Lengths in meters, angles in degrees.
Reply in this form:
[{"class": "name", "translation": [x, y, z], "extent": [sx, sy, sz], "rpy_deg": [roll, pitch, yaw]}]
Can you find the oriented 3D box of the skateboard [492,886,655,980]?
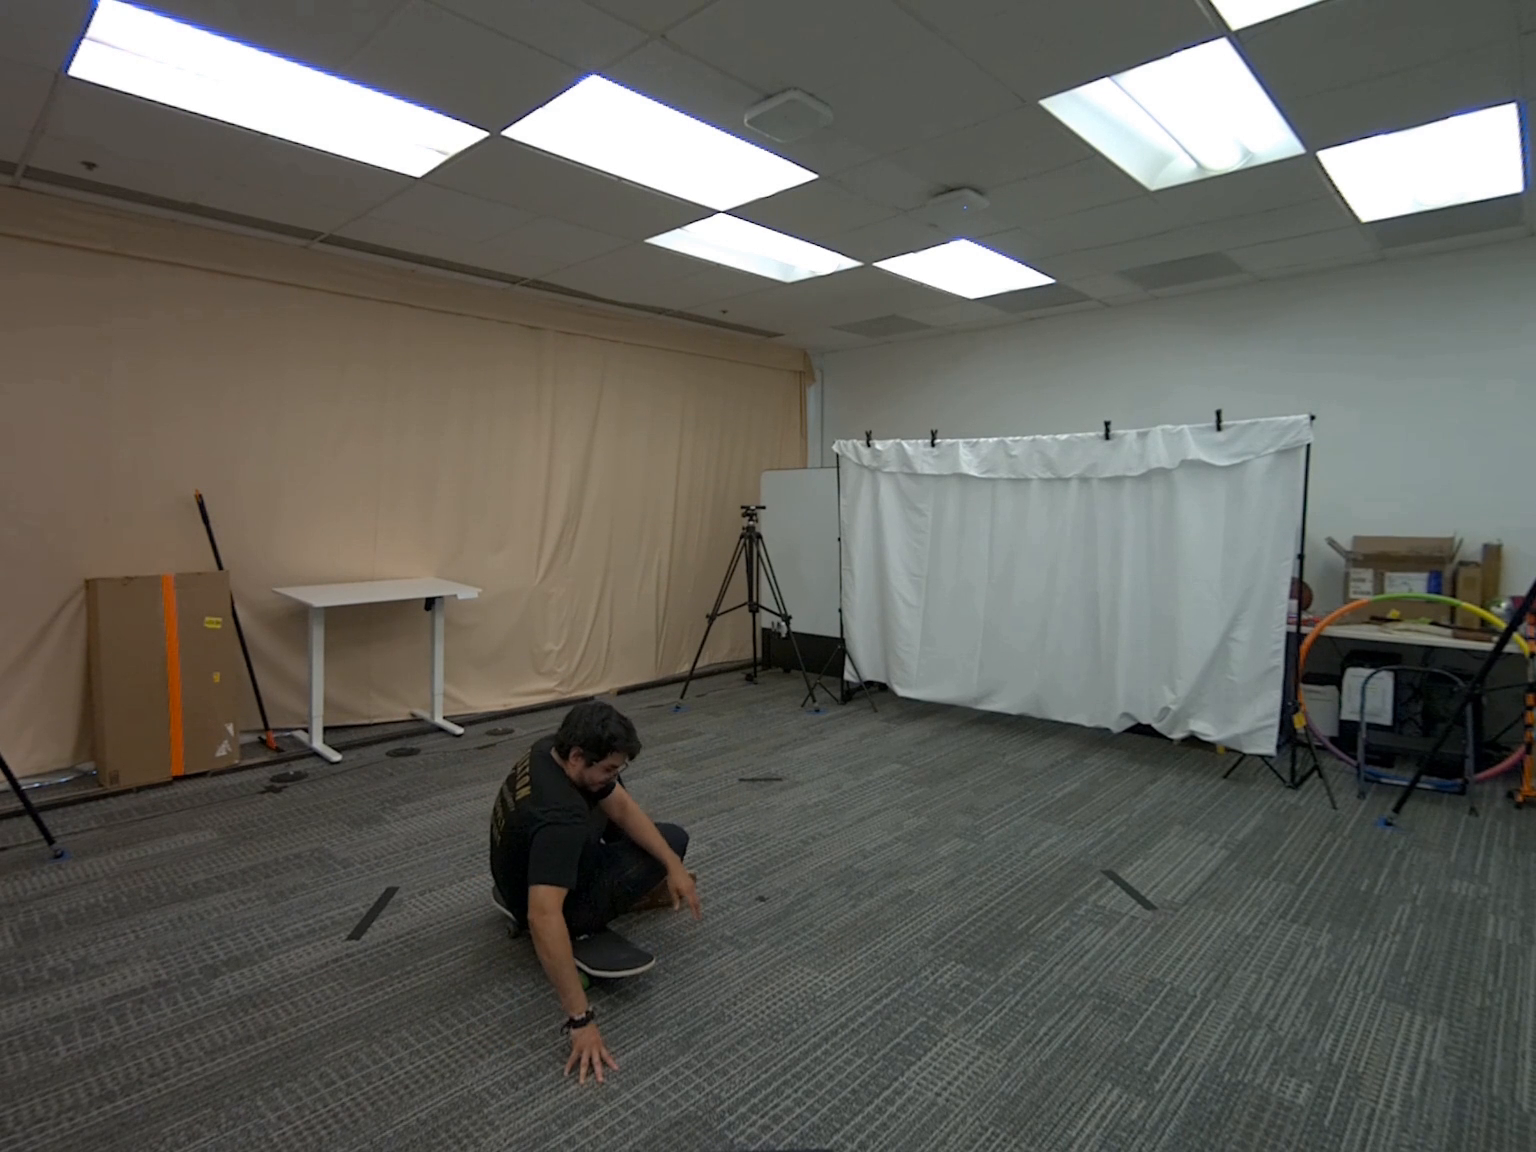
[{"class": "skateboard", "translation": [-0.629, 1.121, 2.629], "extent": [0.187, 0.110, 0.811], "rpy_deg": [-1, 3, -43]}]
